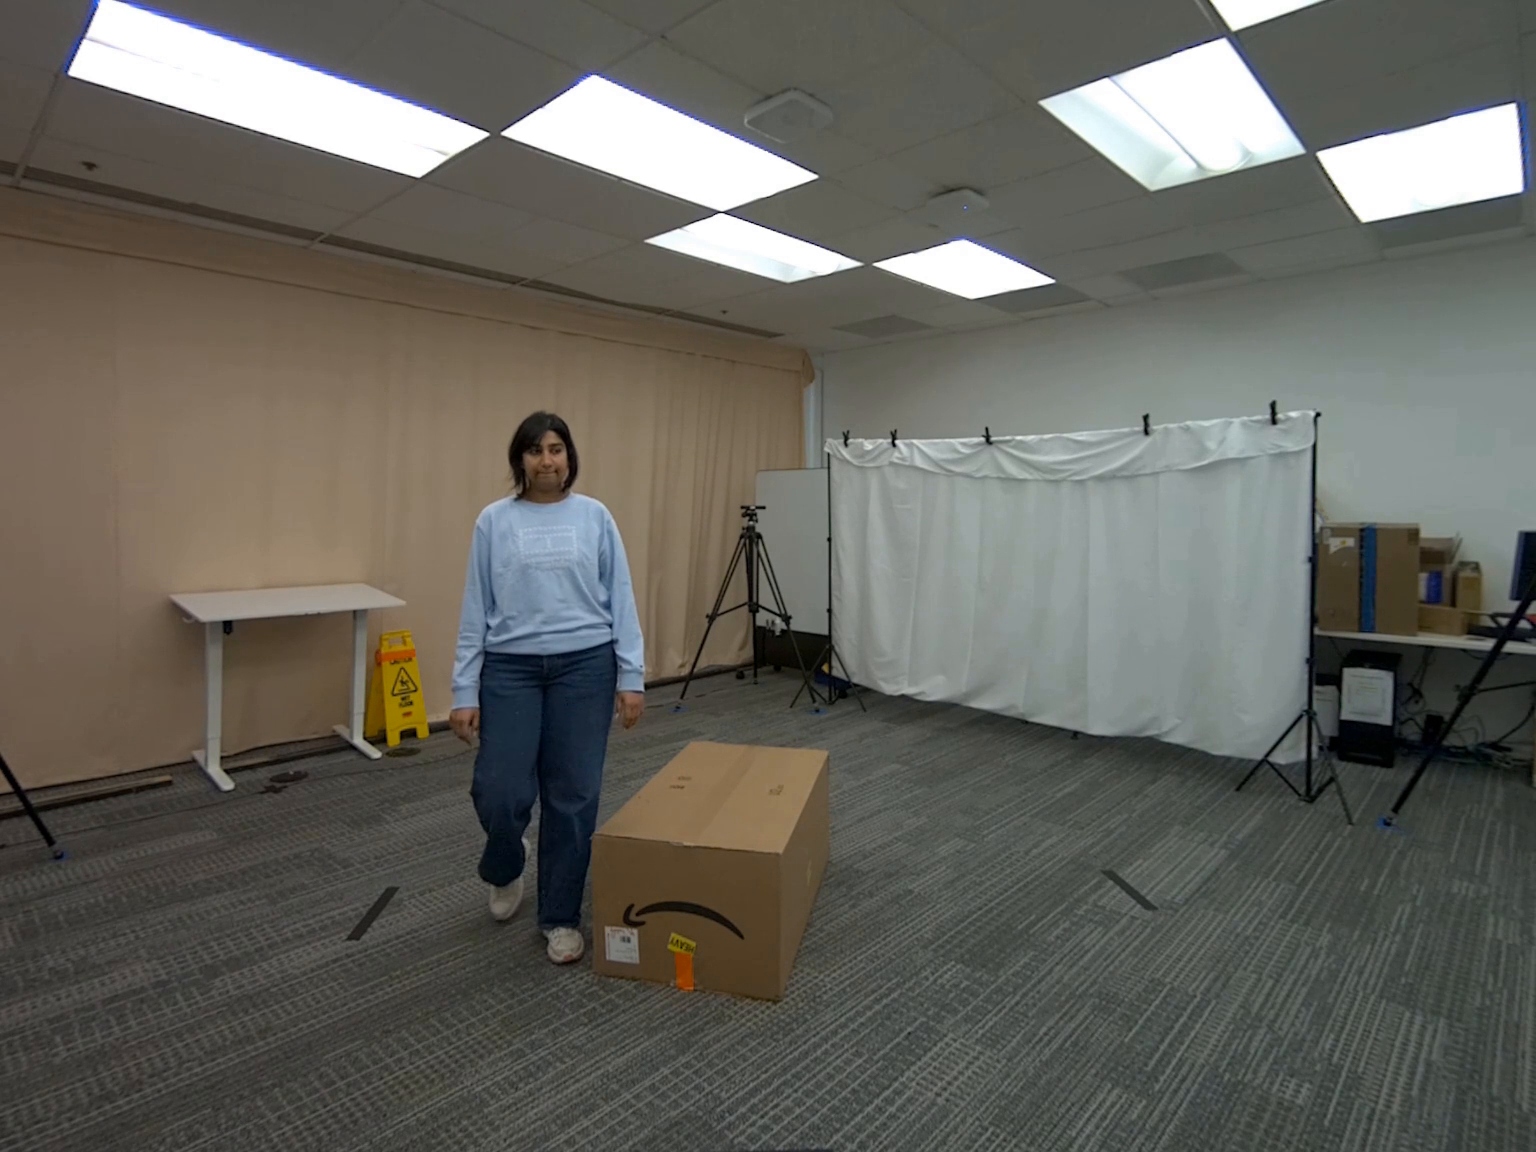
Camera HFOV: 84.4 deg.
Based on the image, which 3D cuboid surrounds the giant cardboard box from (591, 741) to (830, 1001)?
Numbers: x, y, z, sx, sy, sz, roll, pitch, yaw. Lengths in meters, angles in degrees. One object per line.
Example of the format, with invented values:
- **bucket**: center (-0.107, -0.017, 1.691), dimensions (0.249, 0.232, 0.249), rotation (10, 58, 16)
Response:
- **giant cardboard box**: center (-0.136, 0.934, 2.909), dimensions (0.586, 0.425, 1.013), rotation (1, 5, 13)
